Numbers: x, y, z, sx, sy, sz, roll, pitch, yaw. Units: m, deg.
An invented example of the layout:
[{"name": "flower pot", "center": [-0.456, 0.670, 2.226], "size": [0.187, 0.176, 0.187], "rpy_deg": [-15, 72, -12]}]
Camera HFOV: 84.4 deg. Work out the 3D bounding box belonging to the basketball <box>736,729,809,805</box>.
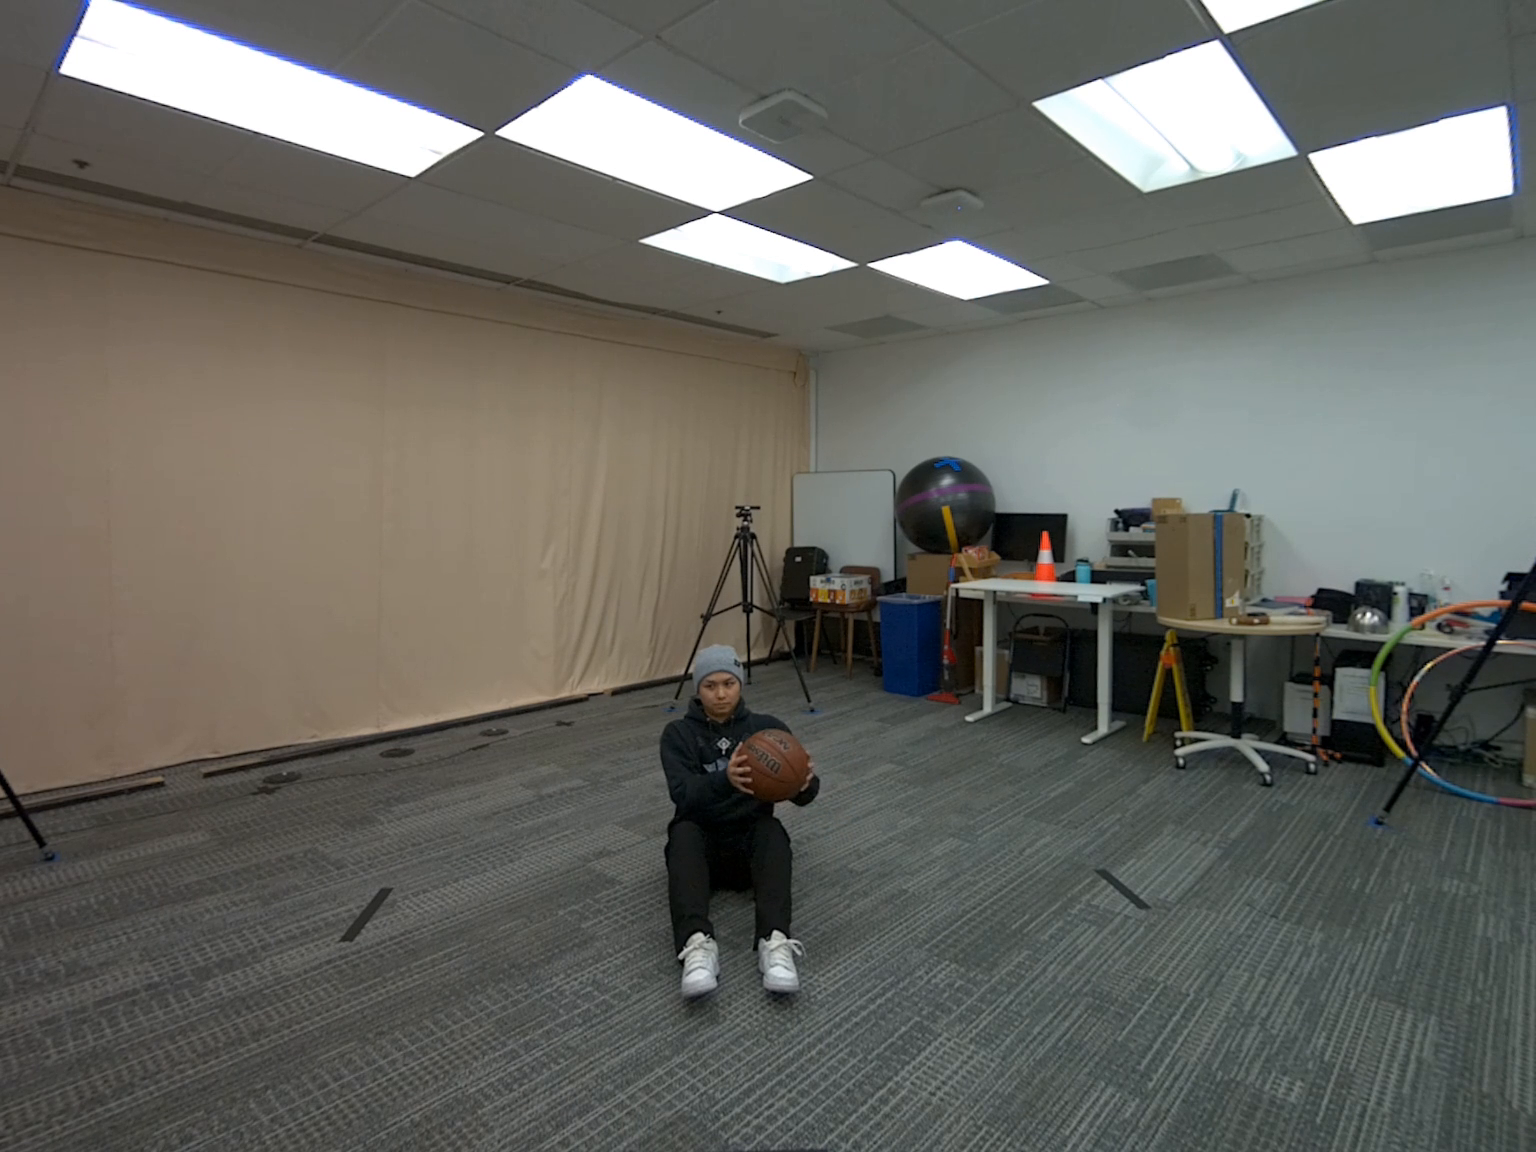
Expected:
[{"name": "basketball", "center": [0.018, 0.635, 2.821], "size": [0.236, 0.235, 0.237], "rpy_deg": [0, 4, -2]}]
